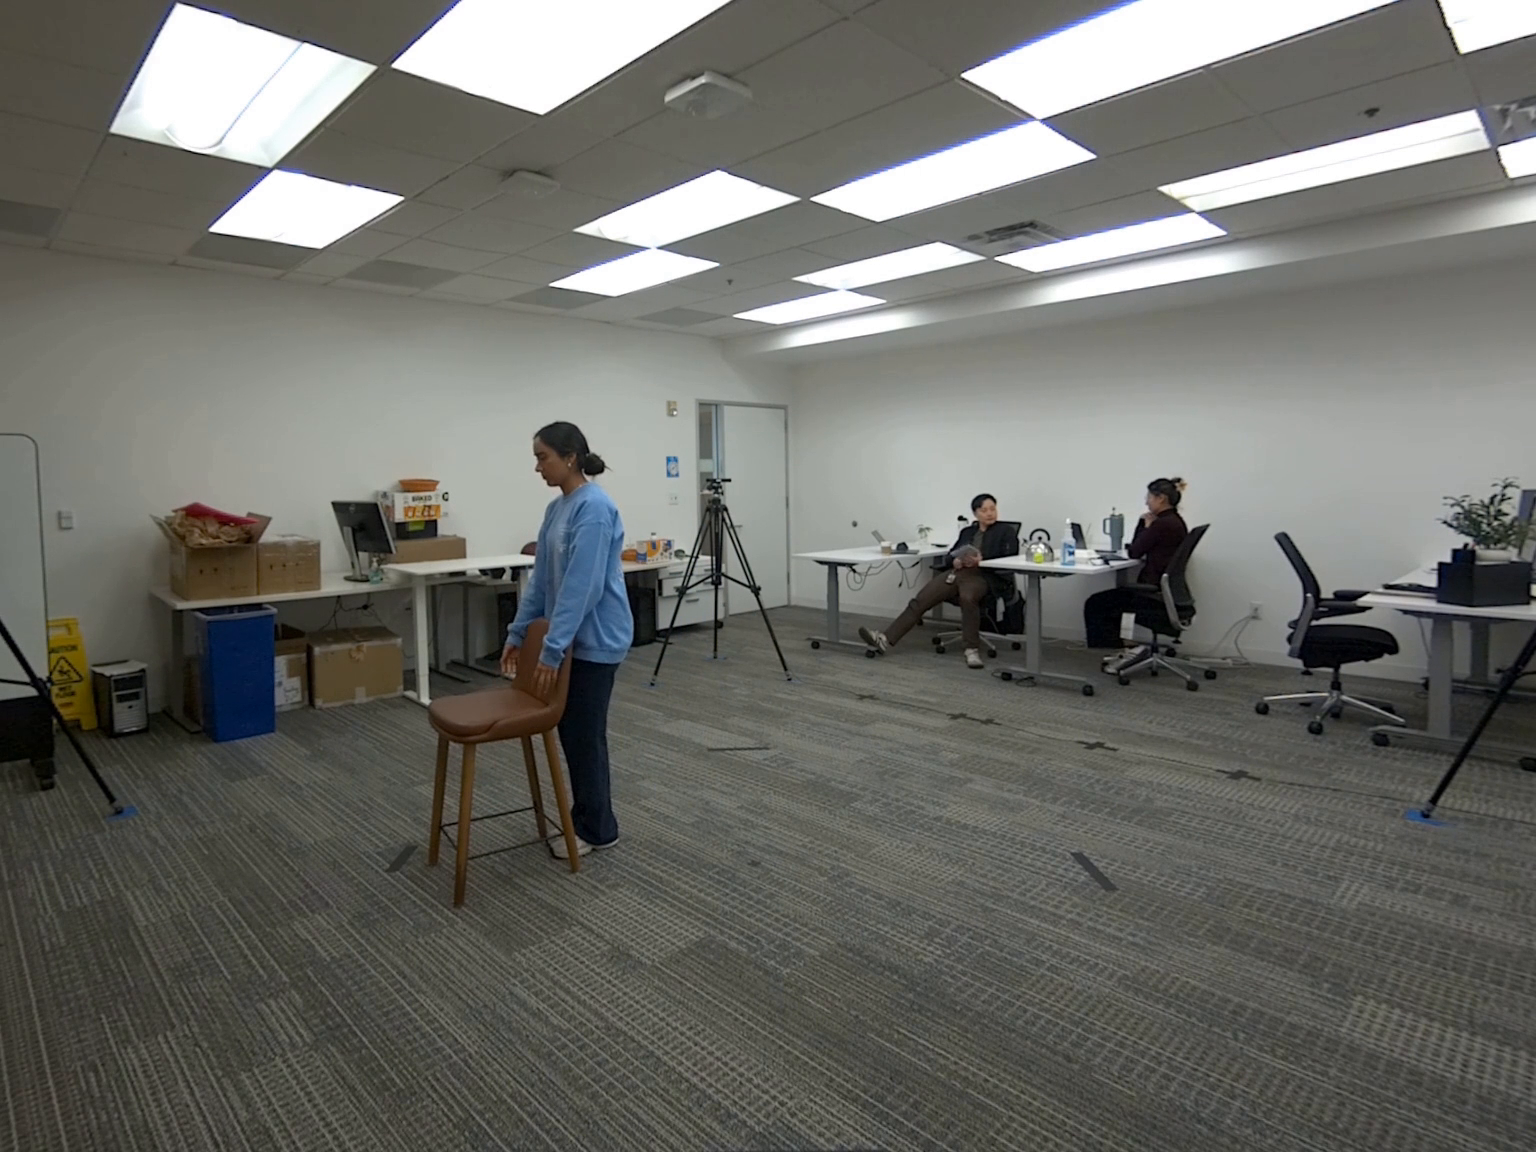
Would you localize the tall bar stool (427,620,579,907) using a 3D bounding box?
[{"bbox_3d":[-0.969,0.623,3.080,0.455,0.888,0.469,-1,3,-33],"label":"tall bar stool"}]
